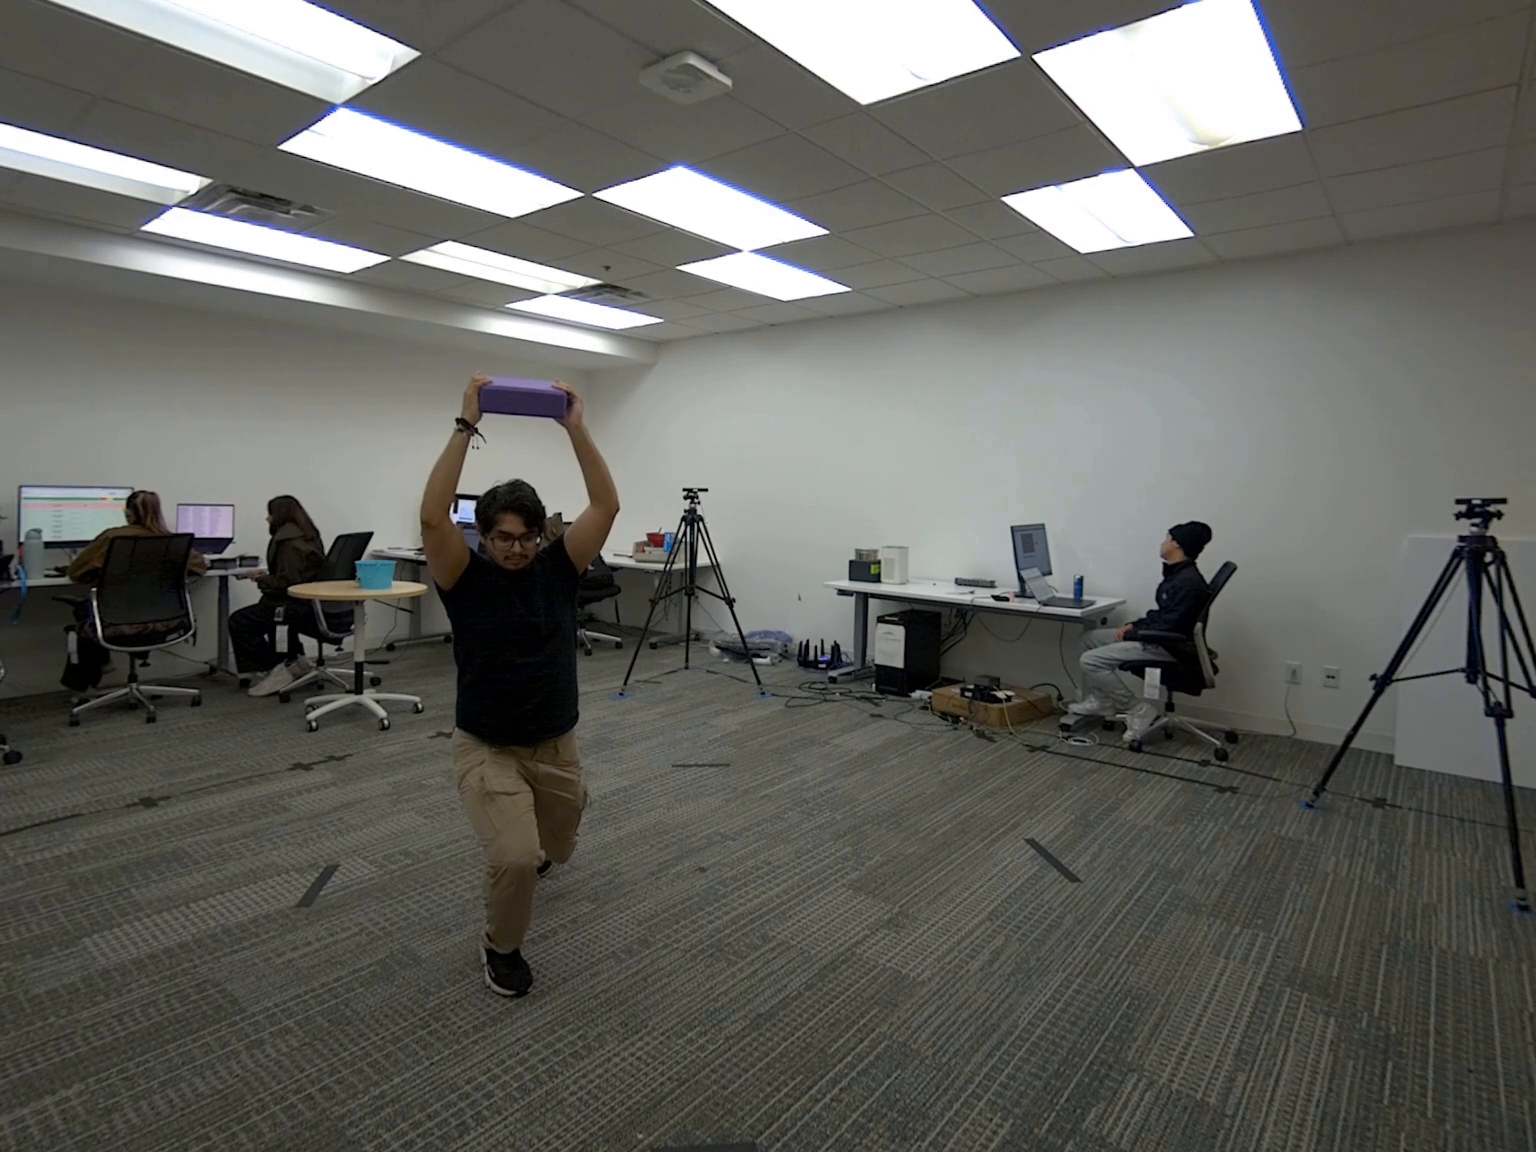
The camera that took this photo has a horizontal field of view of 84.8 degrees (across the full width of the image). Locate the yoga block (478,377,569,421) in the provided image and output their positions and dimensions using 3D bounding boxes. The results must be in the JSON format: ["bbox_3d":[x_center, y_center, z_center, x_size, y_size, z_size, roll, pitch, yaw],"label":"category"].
[{"bbox_3d":[-0.687,-0.494,2.324,0.224,0.075,0.154,0,21,-22],"label":"yoga block"}]
